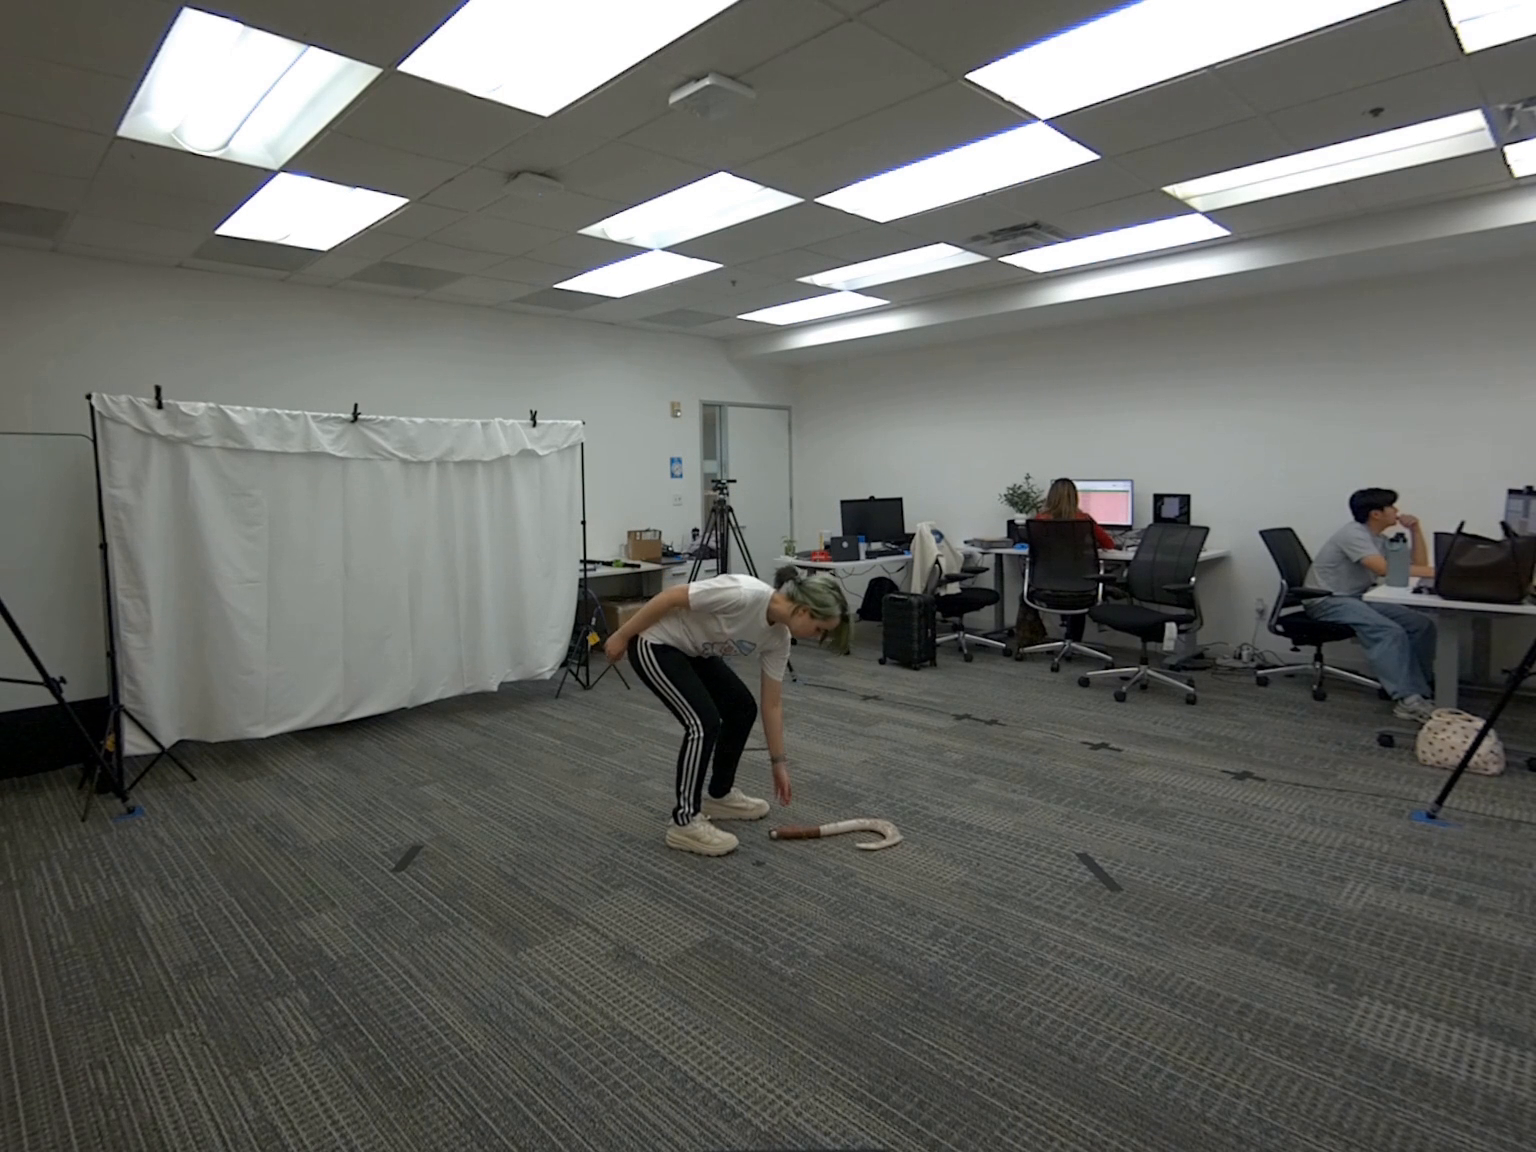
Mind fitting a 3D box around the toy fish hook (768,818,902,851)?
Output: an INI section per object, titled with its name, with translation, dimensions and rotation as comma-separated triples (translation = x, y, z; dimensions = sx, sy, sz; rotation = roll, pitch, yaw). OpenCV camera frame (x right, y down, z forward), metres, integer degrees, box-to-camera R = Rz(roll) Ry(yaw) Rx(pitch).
[toy fish hook]
translation = 0.258, 0.995, 3.290
dimensions = 0.503, 0.048, 0.227
rotation = -3, 5, -7
